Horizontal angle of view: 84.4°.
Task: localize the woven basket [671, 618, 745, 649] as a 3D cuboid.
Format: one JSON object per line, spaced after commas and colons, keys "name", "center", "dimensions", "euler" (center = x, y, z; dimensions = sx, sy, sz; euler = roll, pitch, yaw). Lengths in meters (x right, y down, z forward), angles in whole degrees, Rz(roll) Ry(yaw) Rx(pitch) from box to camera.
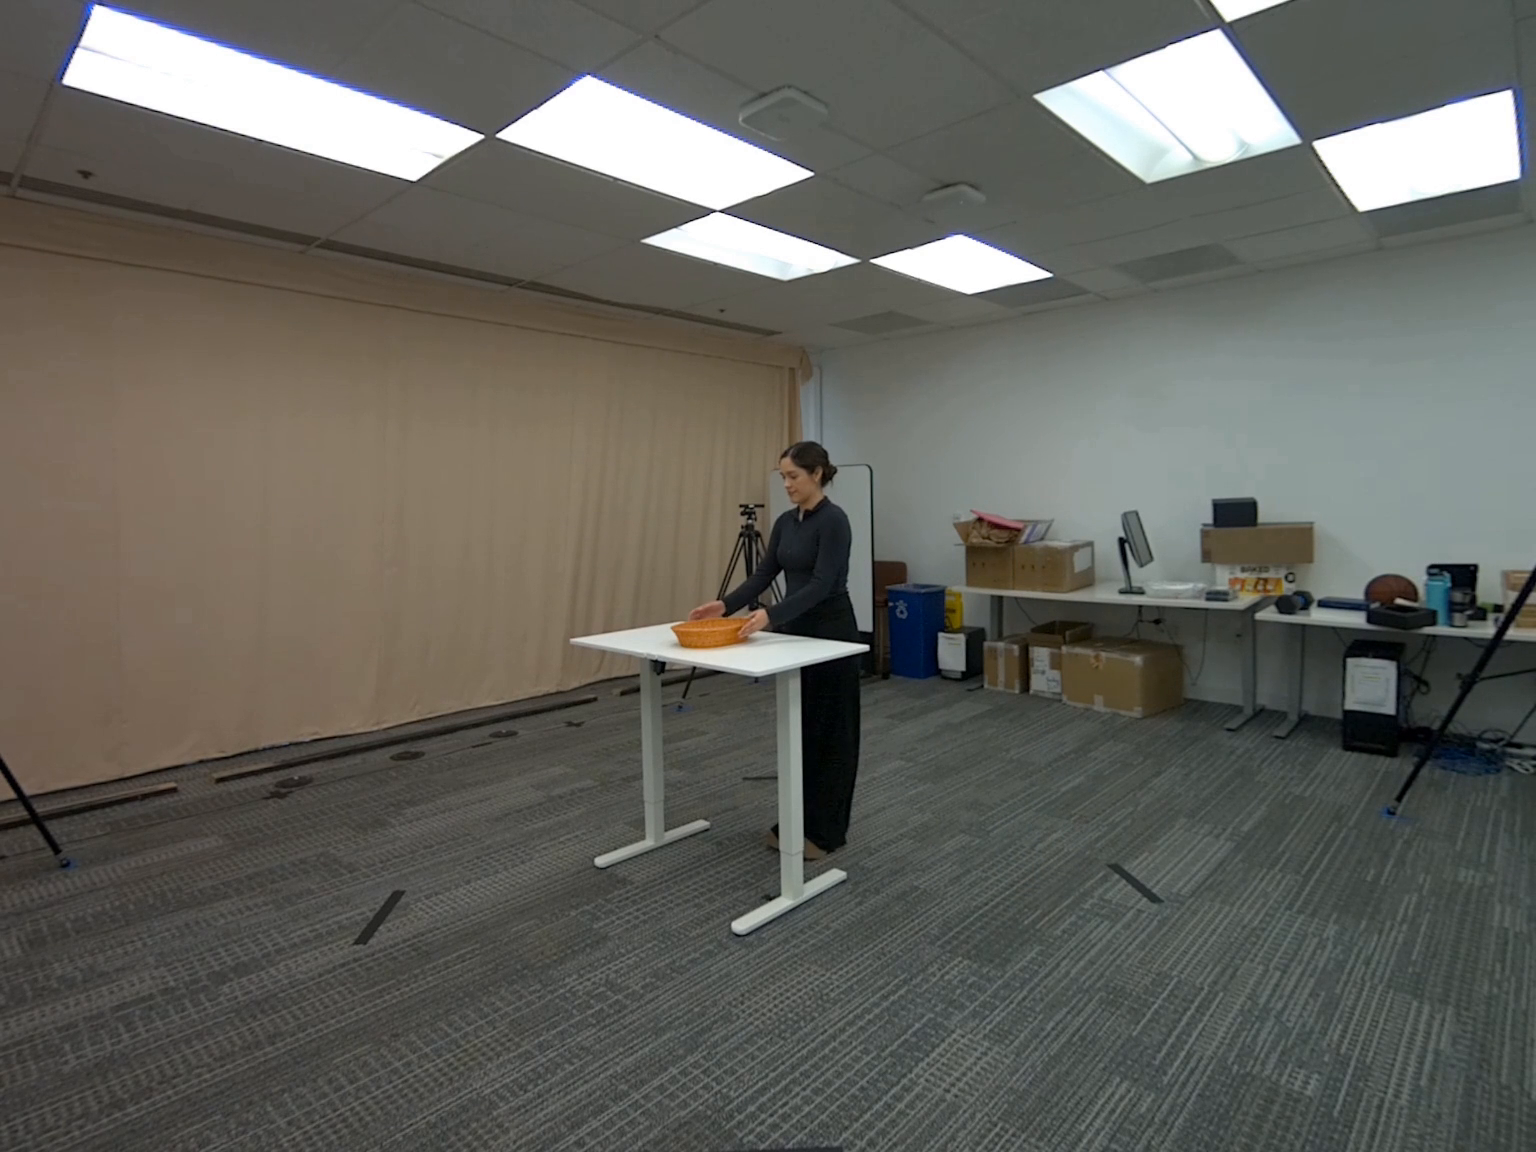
{"name": "woven basket", "center": [-0.198, 0.215, 3.153], "dimensions": [0.261, 0.073, 0.340], "euler": [3, 8, 43]}
